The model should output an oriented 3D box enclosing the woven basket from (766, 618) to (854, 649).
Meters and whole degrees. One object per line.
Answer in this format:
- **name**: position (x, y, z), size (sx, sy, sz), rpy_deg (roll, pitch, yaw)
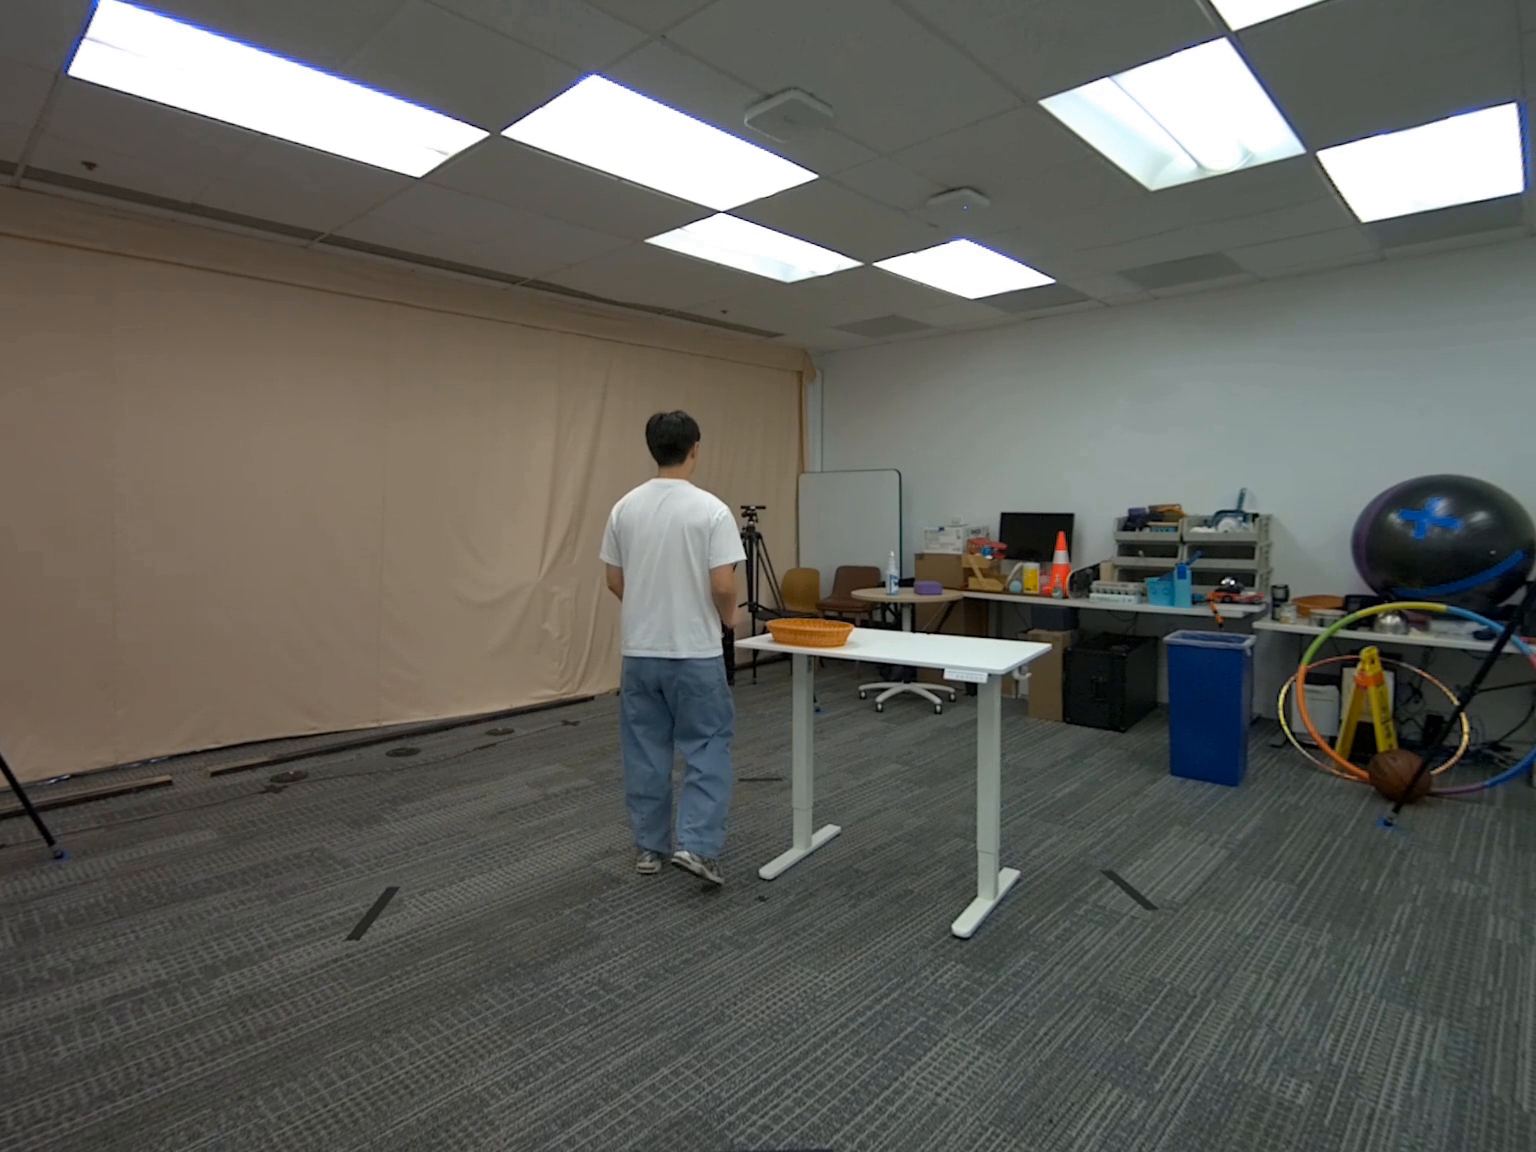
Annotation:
- **woven basket**: position (0.155, 0.221, 3.120), size (0.362, 0.073, 0.245), rpy_deg (3, 5, 40)
